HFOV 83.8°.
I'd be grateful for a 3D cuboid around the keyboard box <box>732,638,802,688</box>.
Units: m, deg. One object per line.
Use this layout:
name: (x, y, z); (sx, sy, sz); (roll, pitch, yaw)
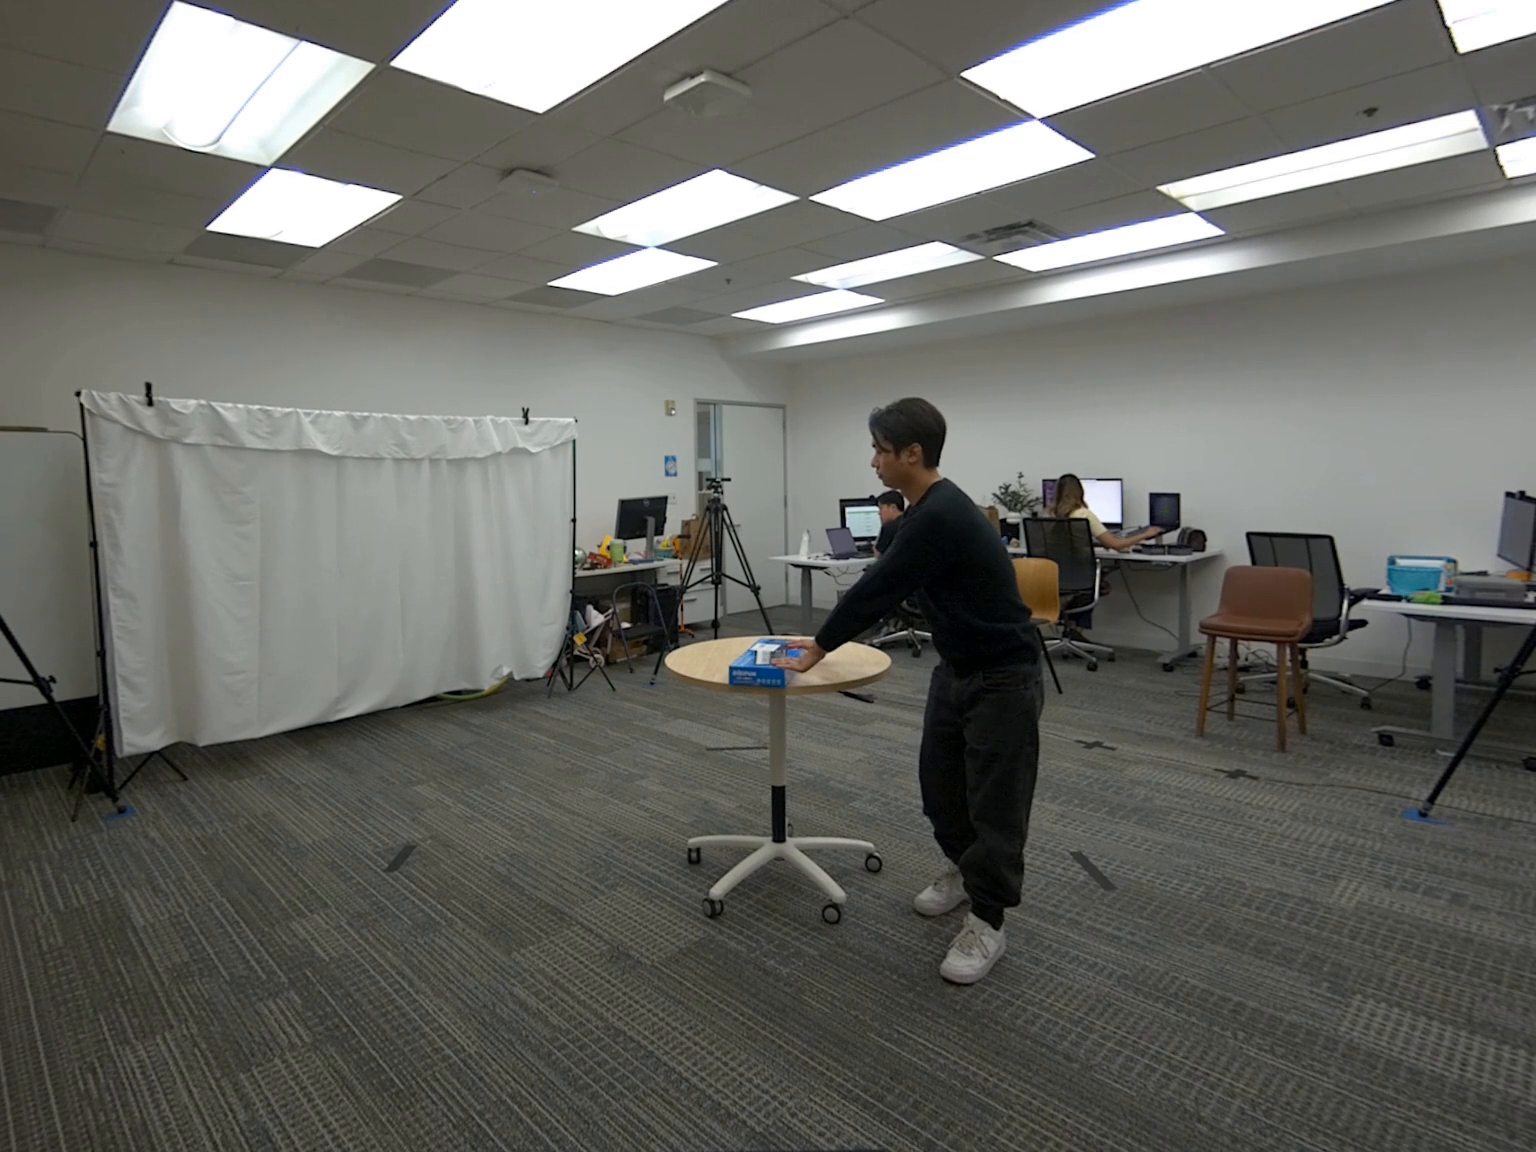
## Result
keyboard box: (0.020, 0.270, 2.743); (0.178, 0.059, 0.433); (1, 7, 11)
